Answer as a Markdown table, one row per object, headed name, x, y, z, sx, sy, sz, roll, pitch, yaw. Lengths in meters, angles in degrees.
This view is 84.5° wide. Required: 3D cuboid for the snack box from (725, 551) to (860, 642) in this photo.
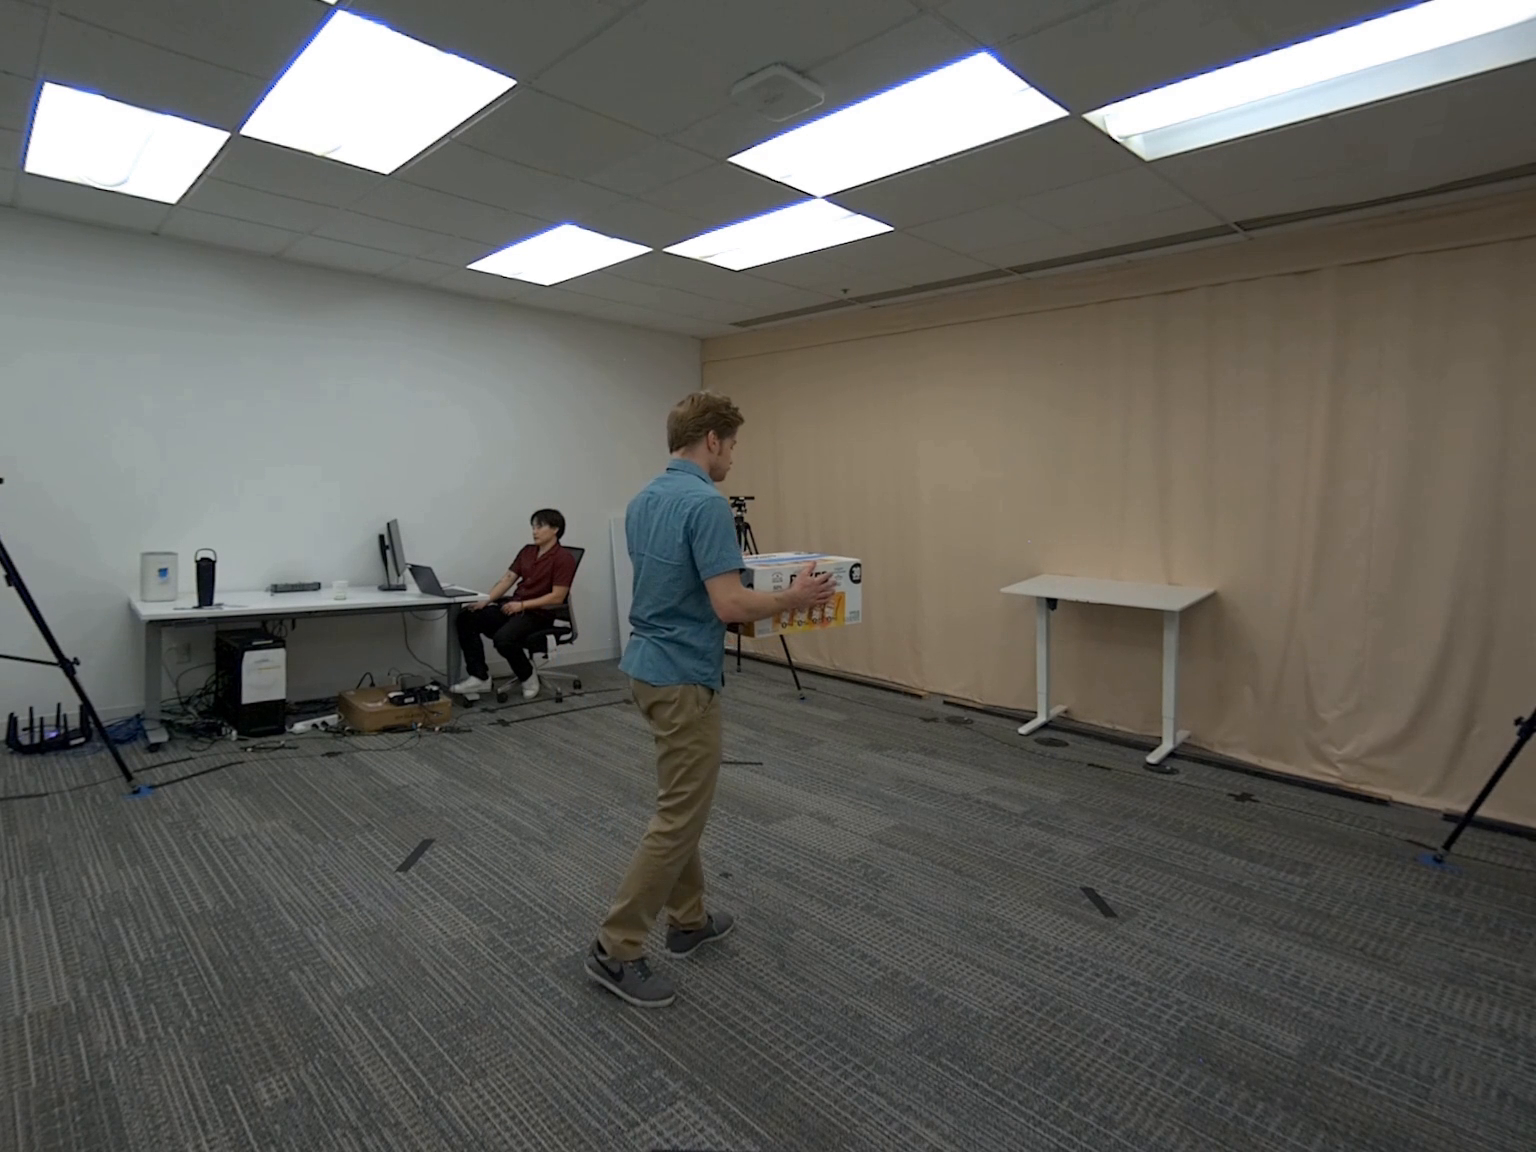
| name | x | y | z | sx | sy | sz | roll | pitch | yaw |
| --- | --- | --- | --- | --- | --- | --- | --- | --- | --- |
| snack box | 0.014 | 0.049 | 2.634 | 0.397 | 0.205 | 0.349 | -5 | 8 | -35 |
